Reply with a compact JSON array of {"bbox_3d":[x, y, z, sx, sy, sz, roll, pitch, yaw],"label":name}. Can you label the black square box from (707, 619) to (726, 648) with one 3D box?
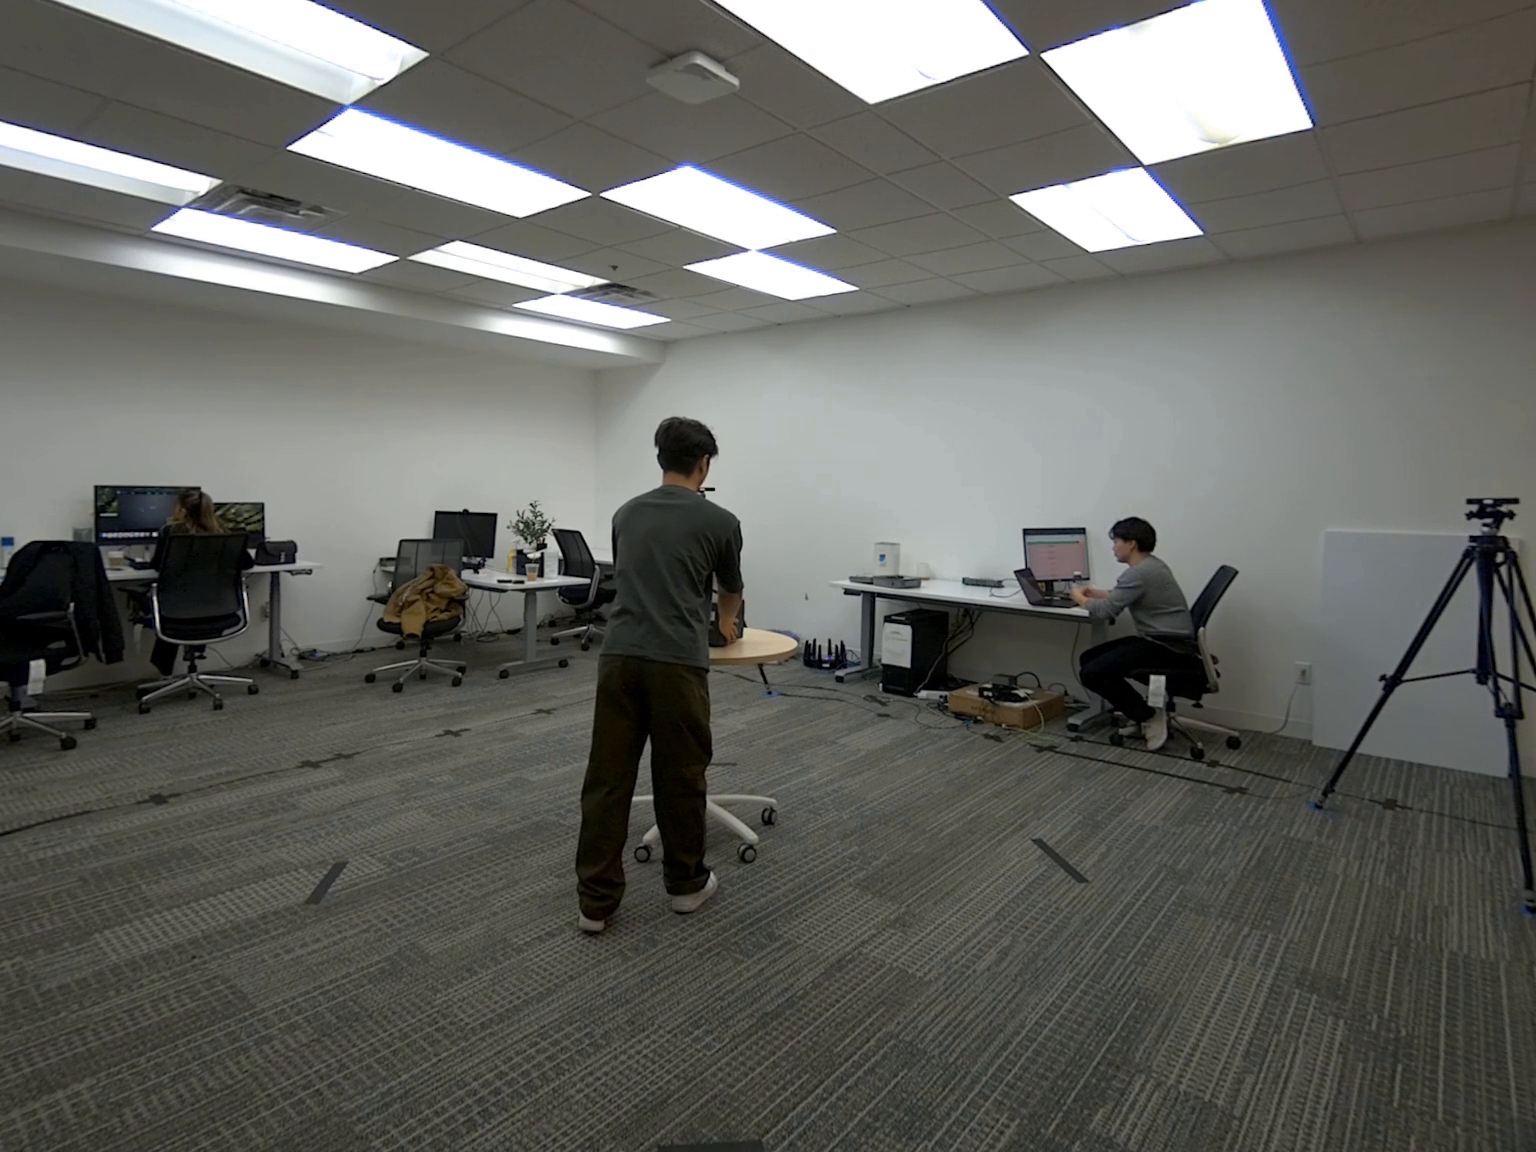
[{"bbox_3d":[-0.245,0.162,3.369,0.222,0.155,0.223,2,3,22],"label":"black square box"}]
